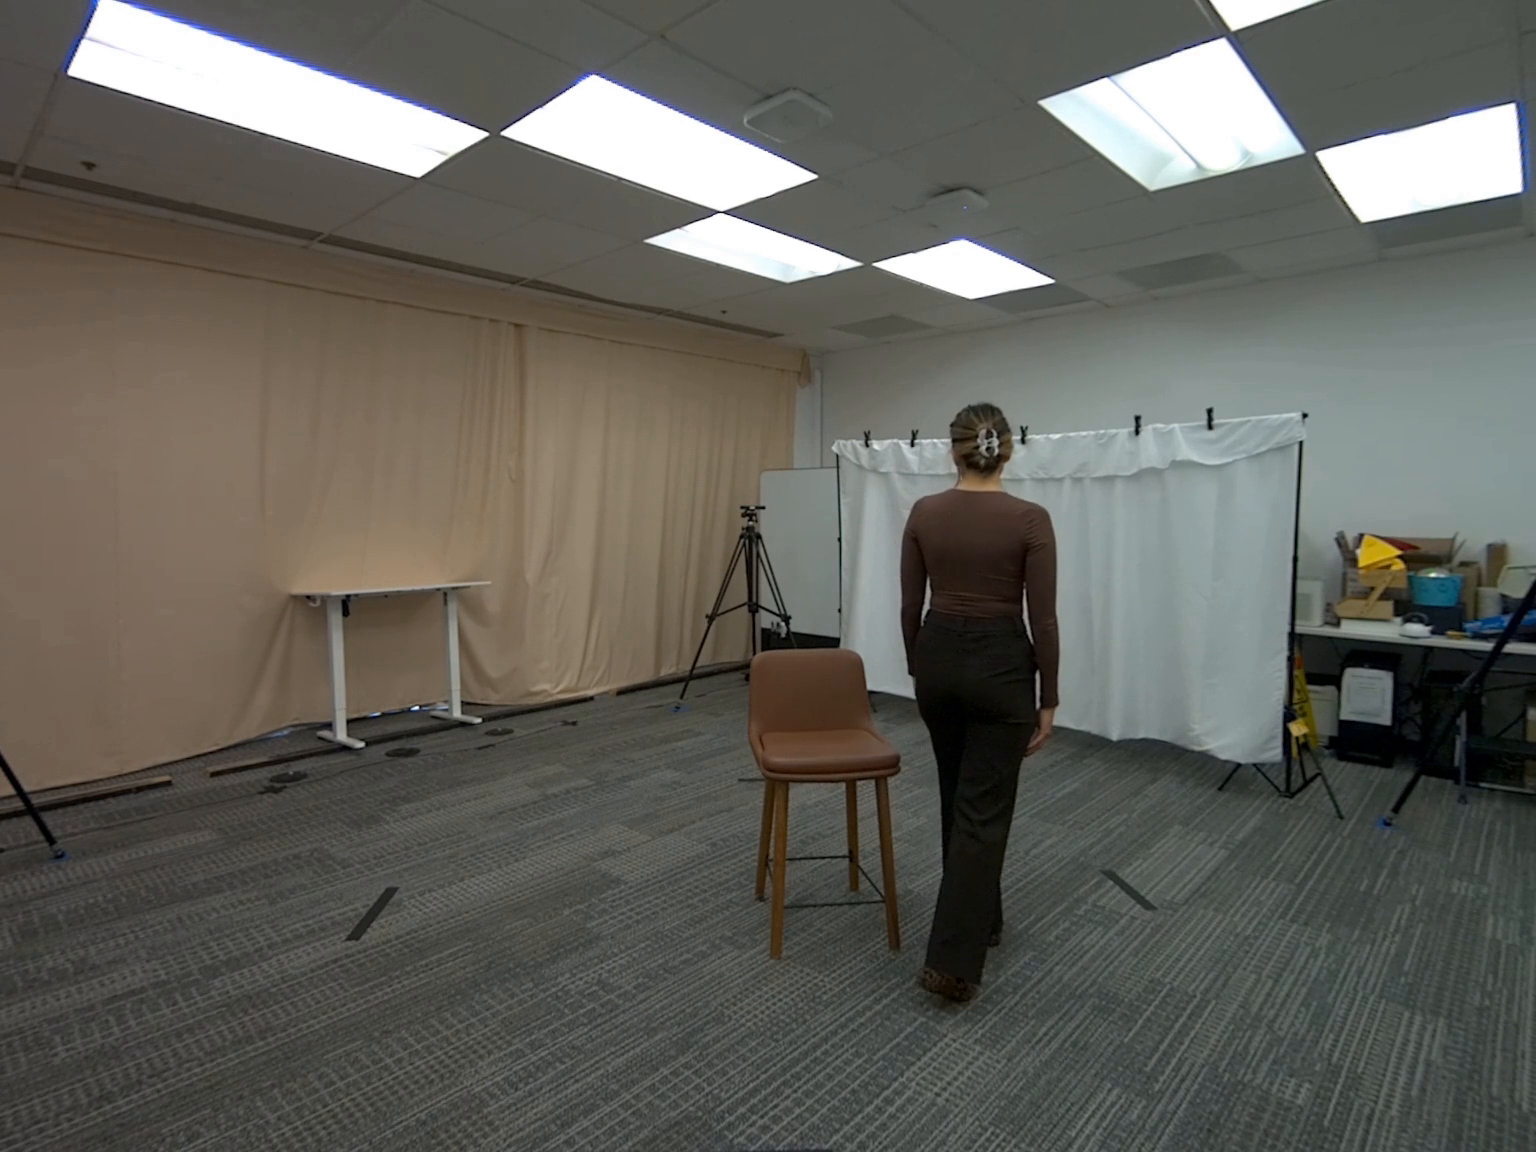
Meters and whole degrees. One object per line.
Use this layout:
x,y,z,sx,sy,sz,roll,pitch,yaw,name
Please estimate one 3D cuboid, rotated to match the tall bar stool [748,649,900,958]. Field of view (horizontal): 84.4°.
0.177,0.727,2.814,0.453,0.889,0.471,0,2,-7,tall bar stool
